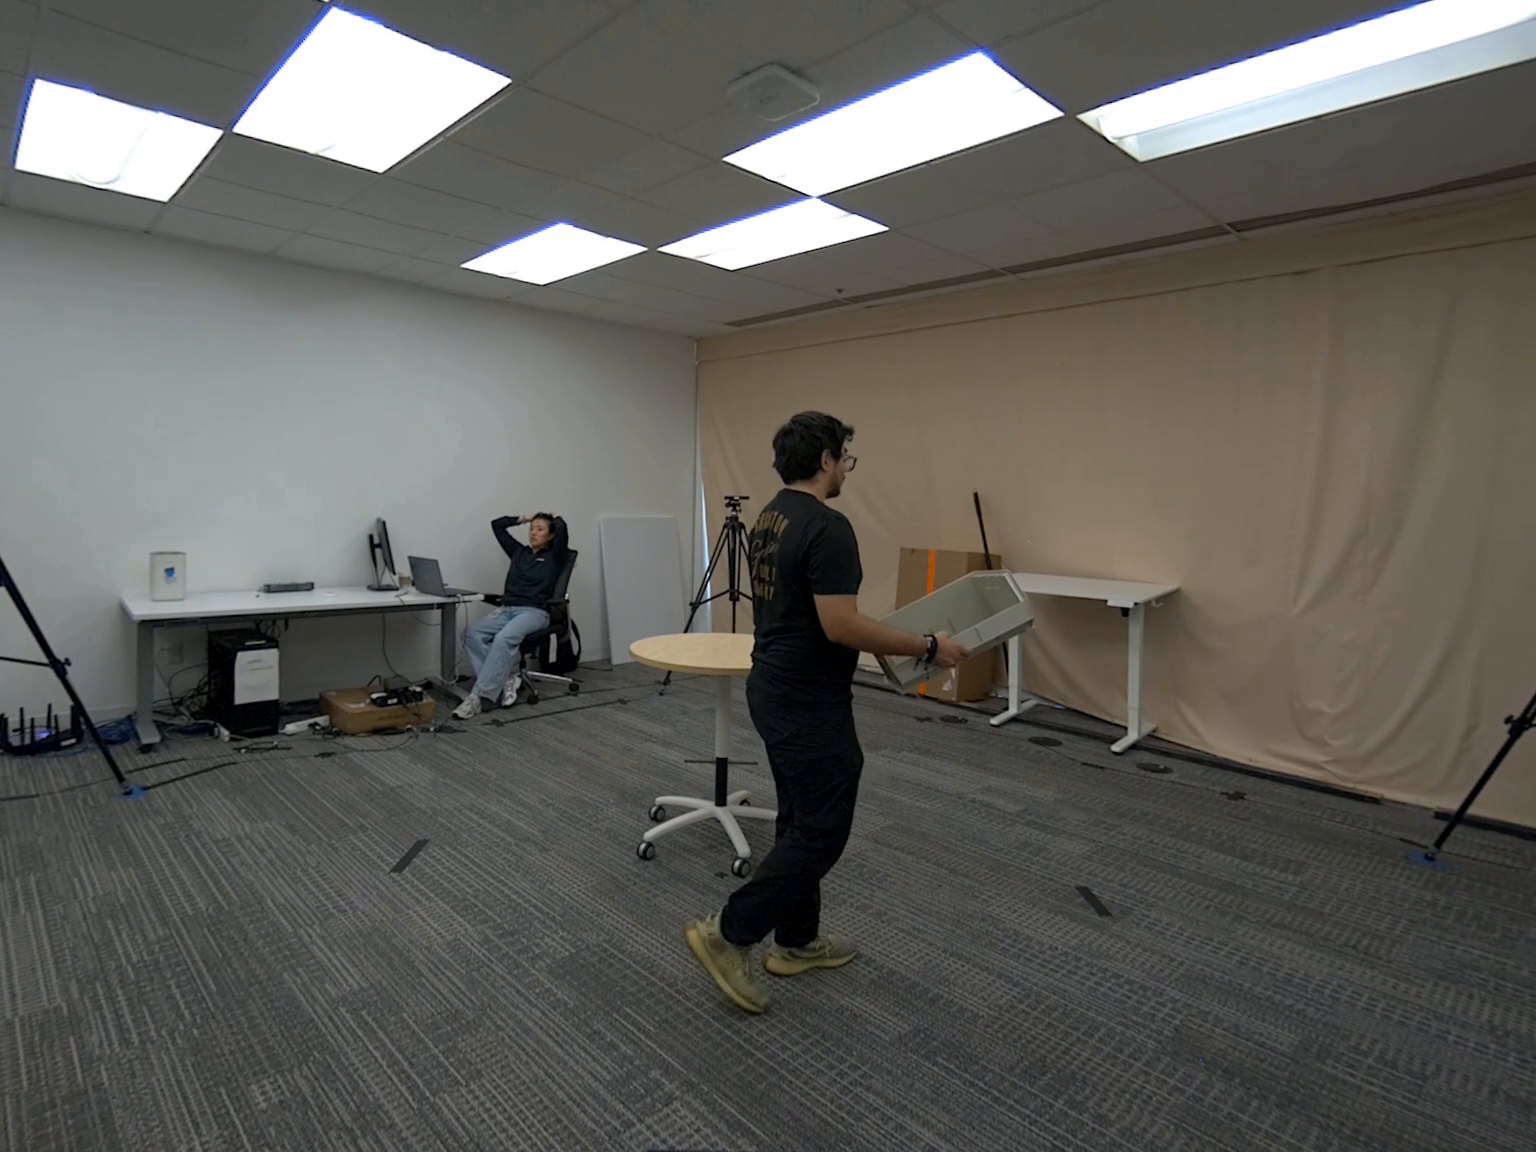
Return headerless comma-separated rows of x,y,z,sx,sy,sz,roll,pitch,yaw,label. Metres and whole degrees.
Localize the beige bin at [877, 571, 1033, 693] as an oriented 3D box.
0.495,0.160,2.451,0.422,0.189,0.377,-27,-1,-3,beige bin
